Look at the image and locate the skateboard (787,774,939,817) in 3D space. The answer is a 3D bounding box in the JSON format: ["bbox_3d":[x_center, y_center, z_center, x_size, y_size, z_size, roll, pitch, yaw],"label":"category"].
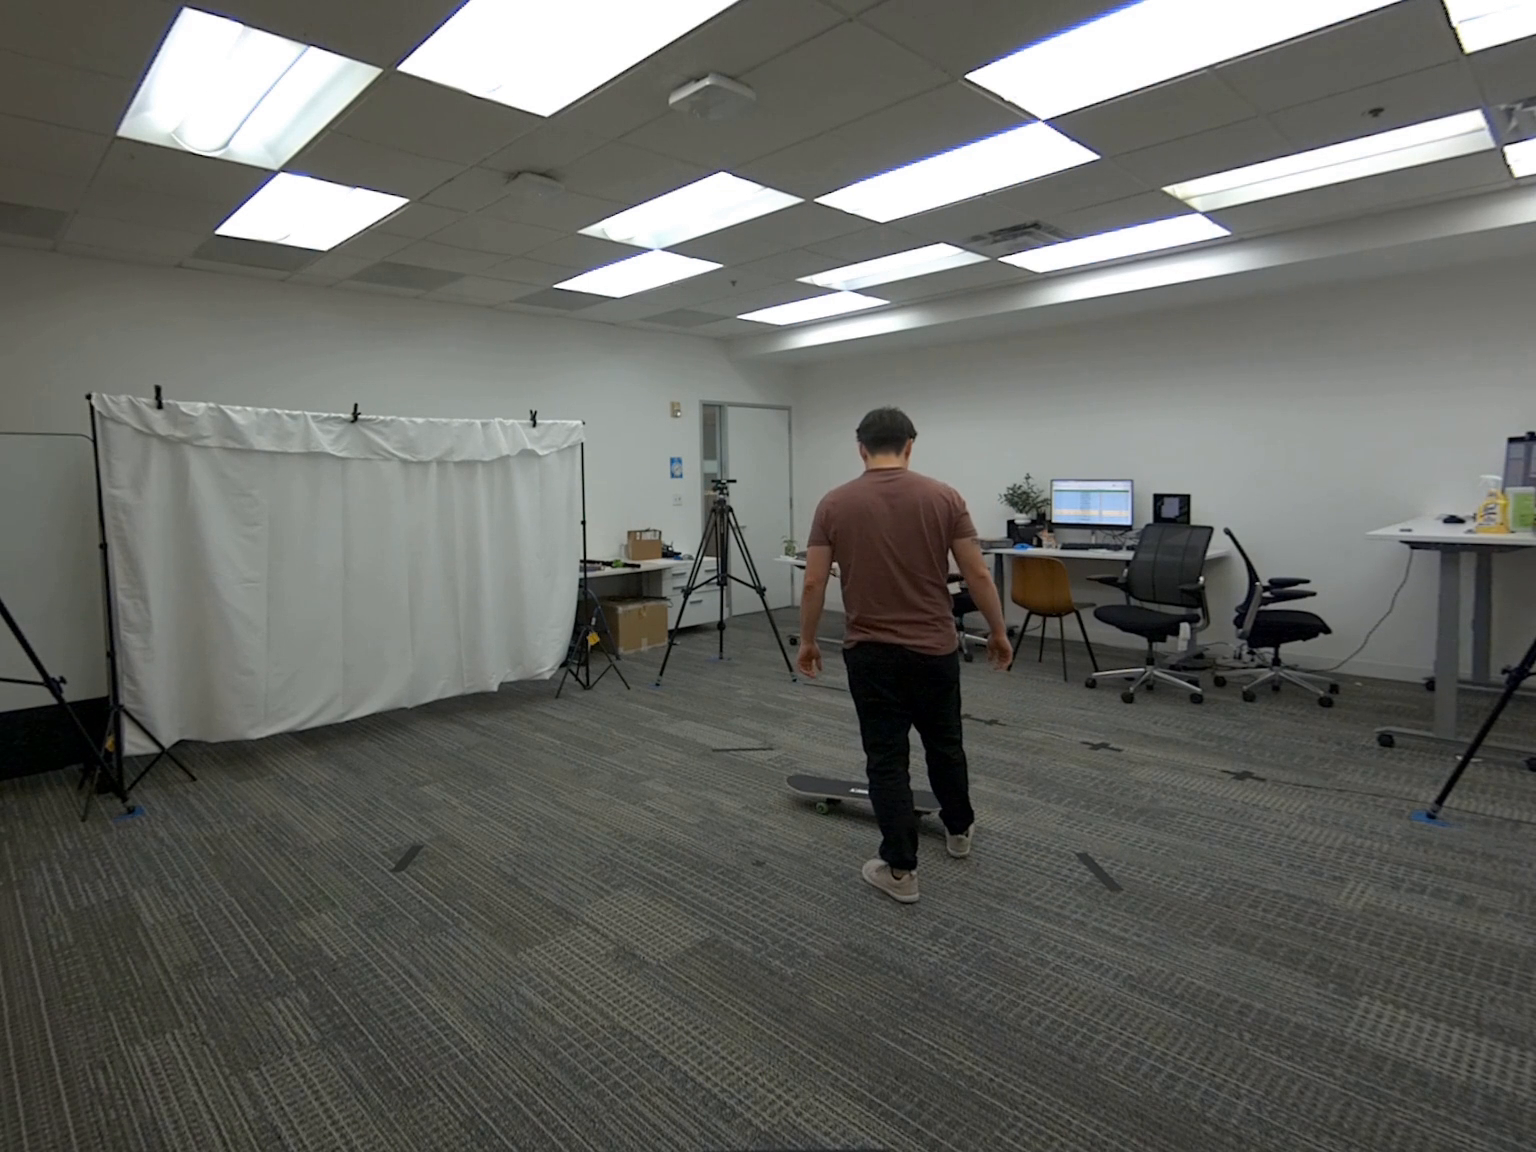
[{"bbox_3d":[0.443,0.929,3.520,0.805,0.110,0.189,0,6,30],"label":"skateboard"}]
